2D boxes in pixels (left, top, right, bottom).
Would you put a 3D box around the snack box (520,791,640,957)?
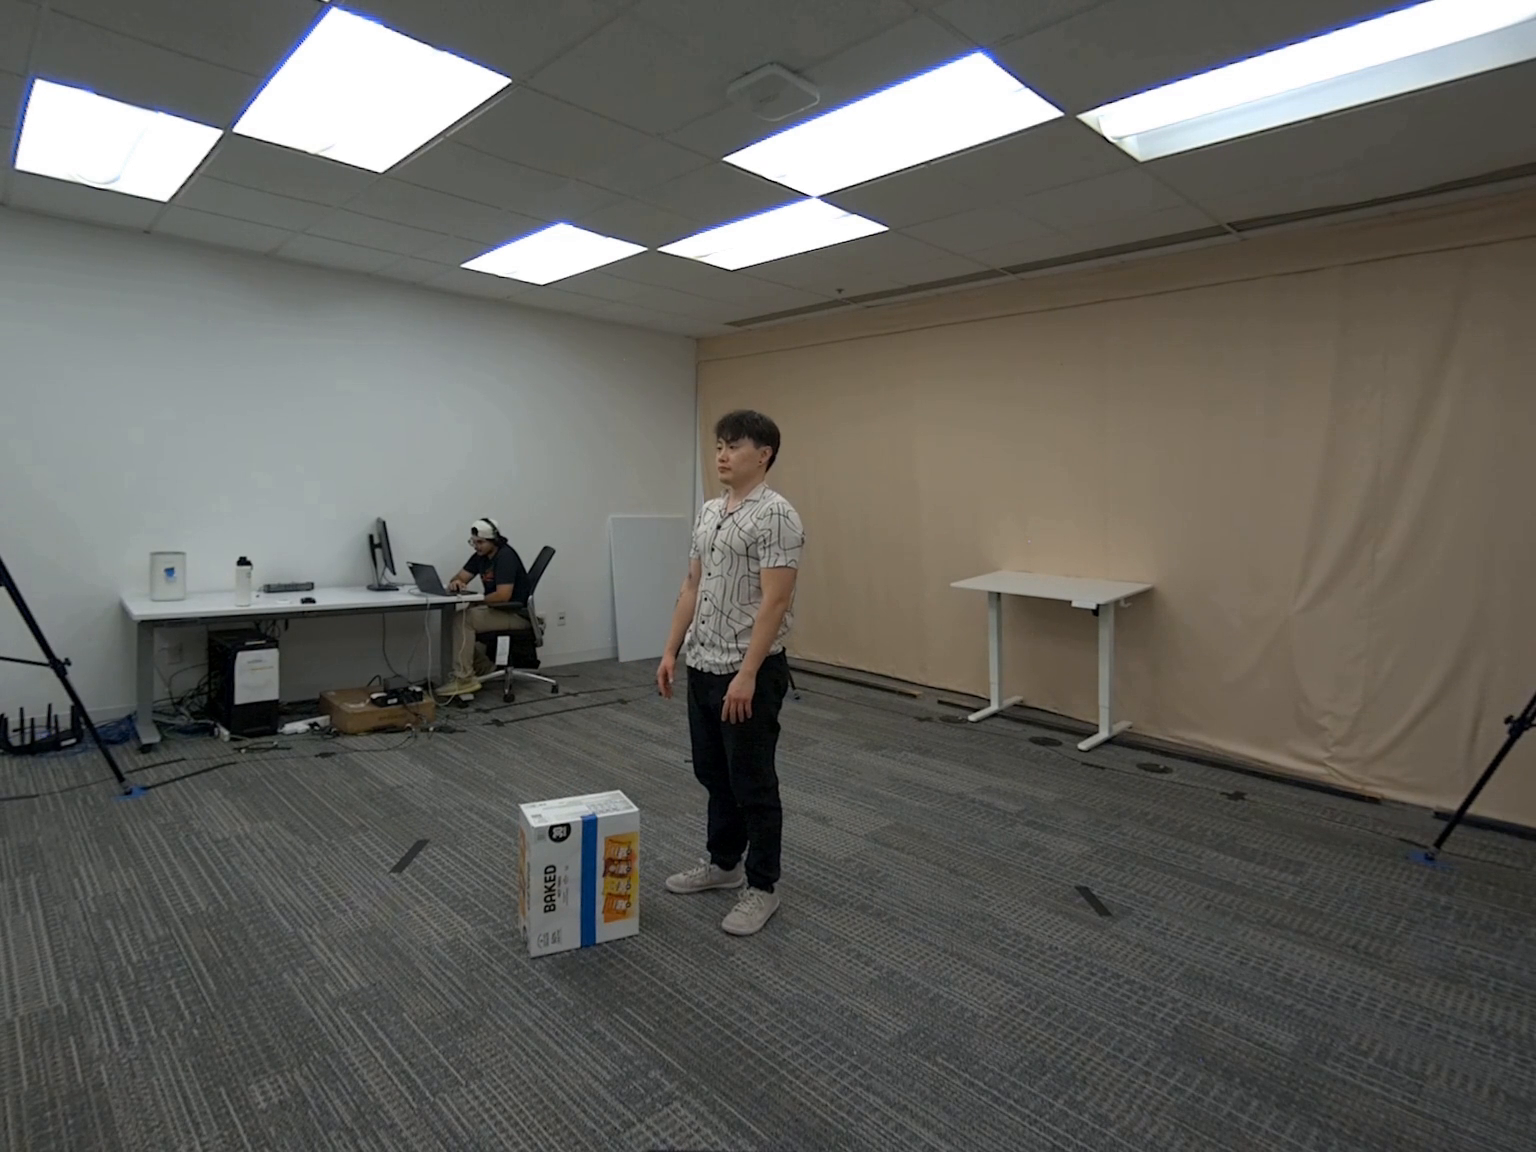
[{"bbox_3d":[-0.605,0.932,2.661,0.334,0.404,0.210,-1,4,-27],"label":"snack box"}]
